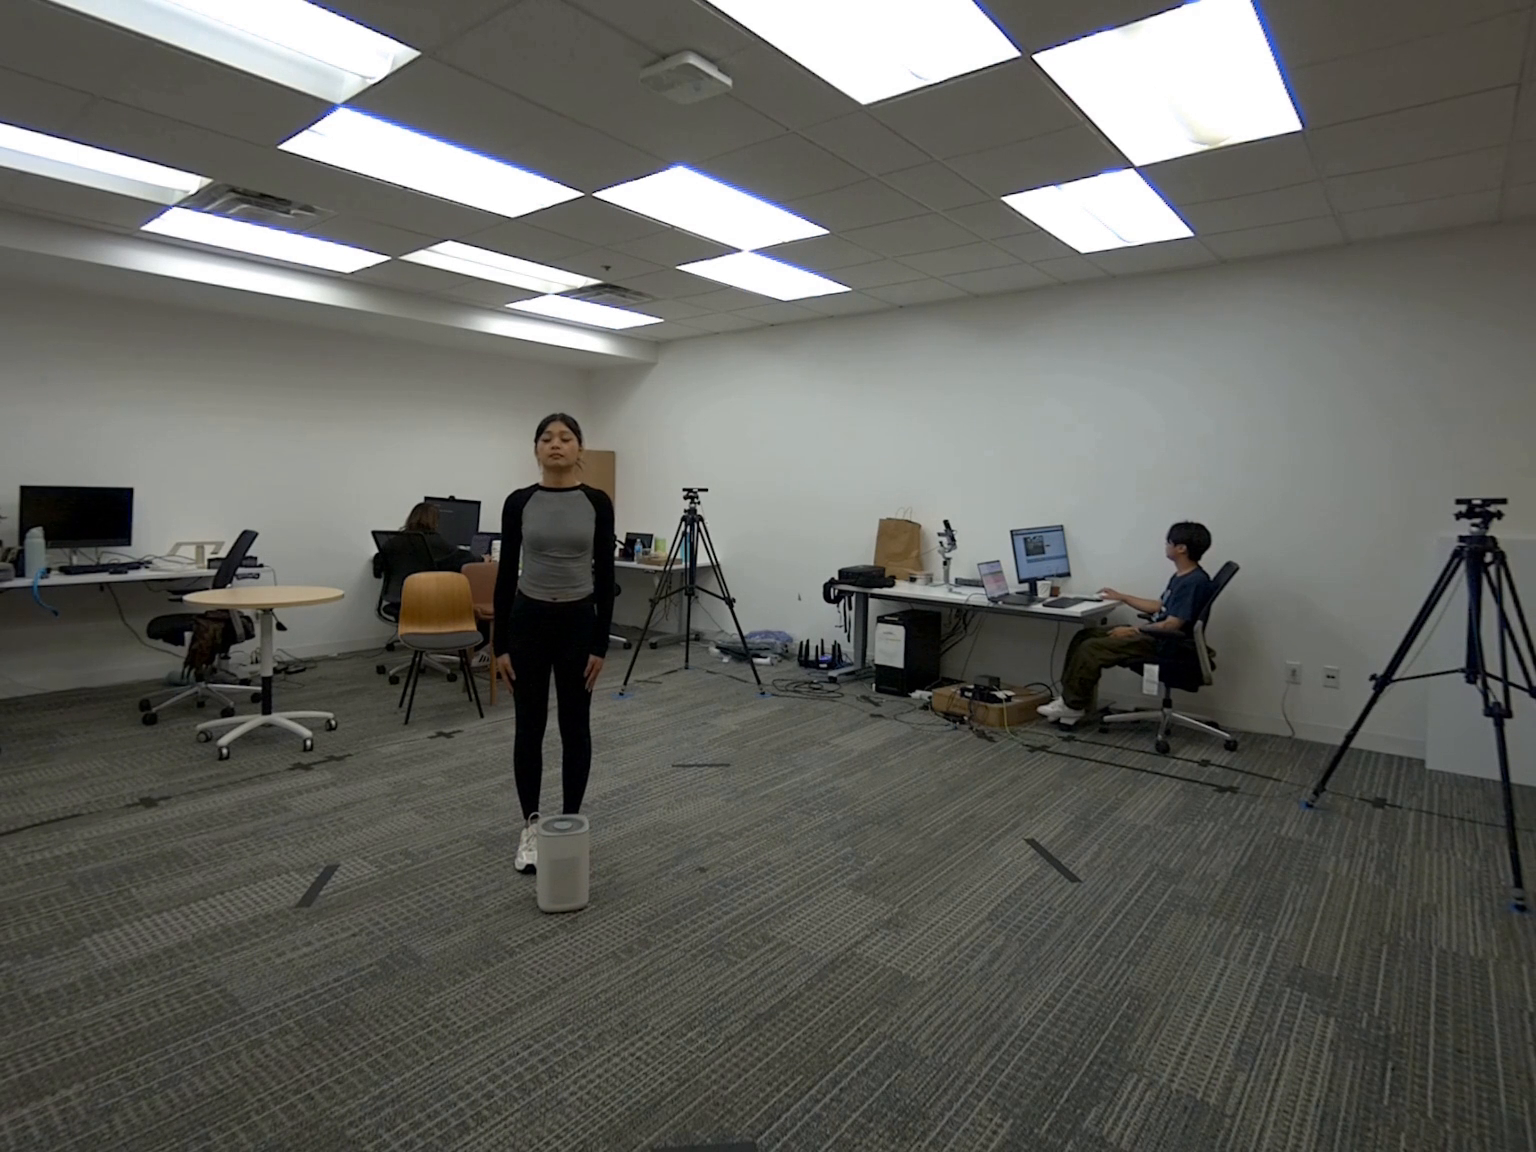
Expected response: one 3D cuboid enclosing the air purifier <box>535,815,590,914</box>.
[{"bbox_3d":[-0.696,0.953,2.841,0.169,0.264,0.175,-1,5,-17],"label":"air purifier"}]
